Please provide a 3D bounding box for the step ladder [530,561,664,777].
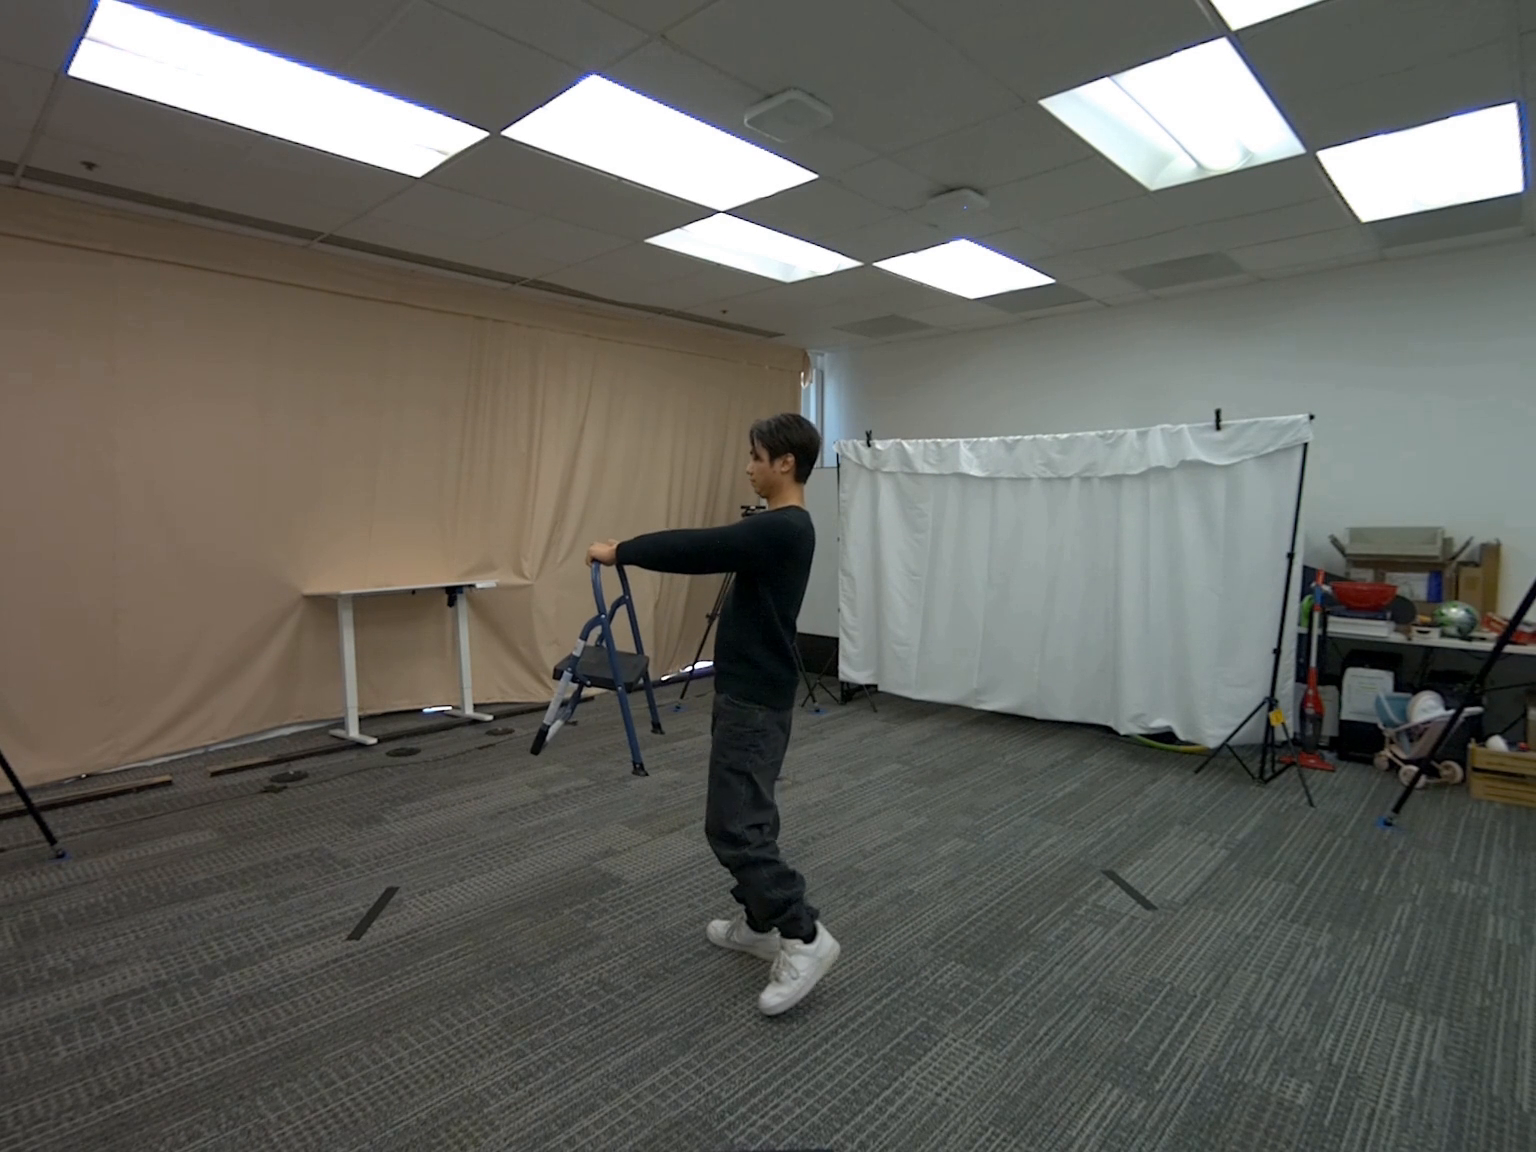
[{"bbox_3d":[-0.467,0.239,2.607,0.350,0.604,0.431,9,6,1],"label":"step ladder"}]
